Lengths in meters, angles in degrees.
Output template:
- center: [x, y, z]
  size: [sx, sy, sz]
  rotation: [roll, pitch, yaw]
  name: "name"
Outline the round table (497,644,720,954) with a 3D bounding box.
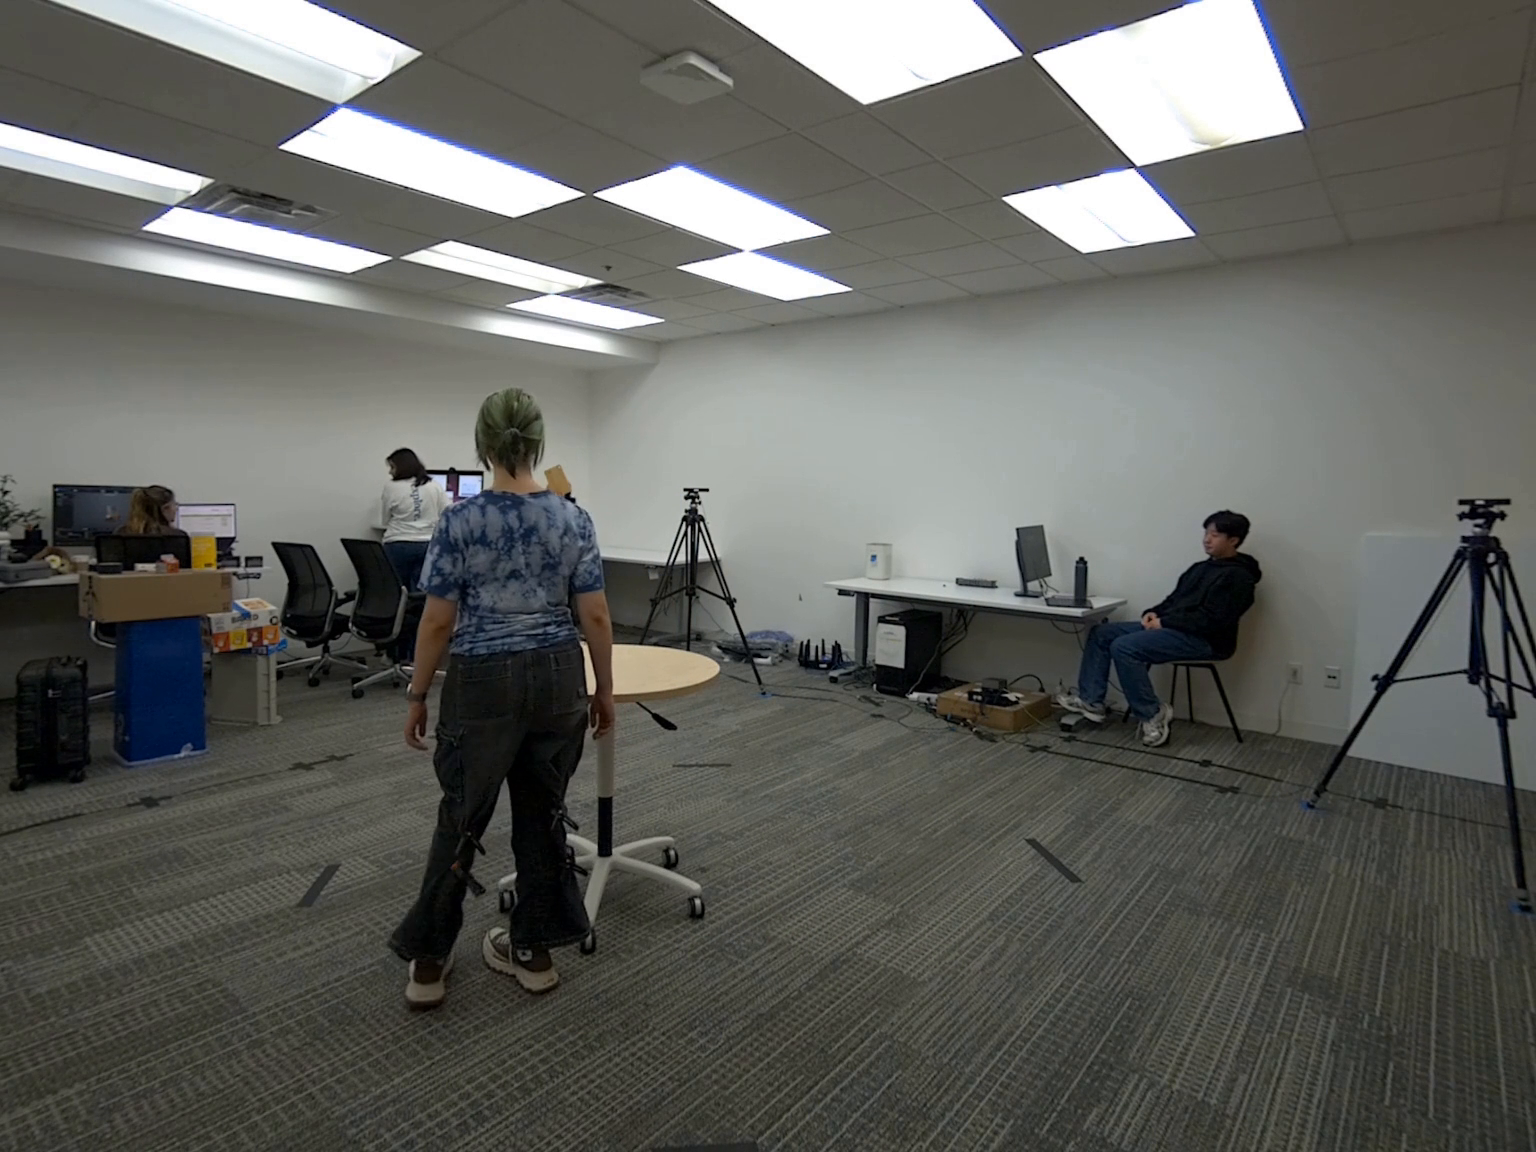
- center: [-0.557, 0.698, 2.879]
  size: [0.763, 0.791, 0.768]
  rotation: [1, 5, -2]
  name: "round table"
